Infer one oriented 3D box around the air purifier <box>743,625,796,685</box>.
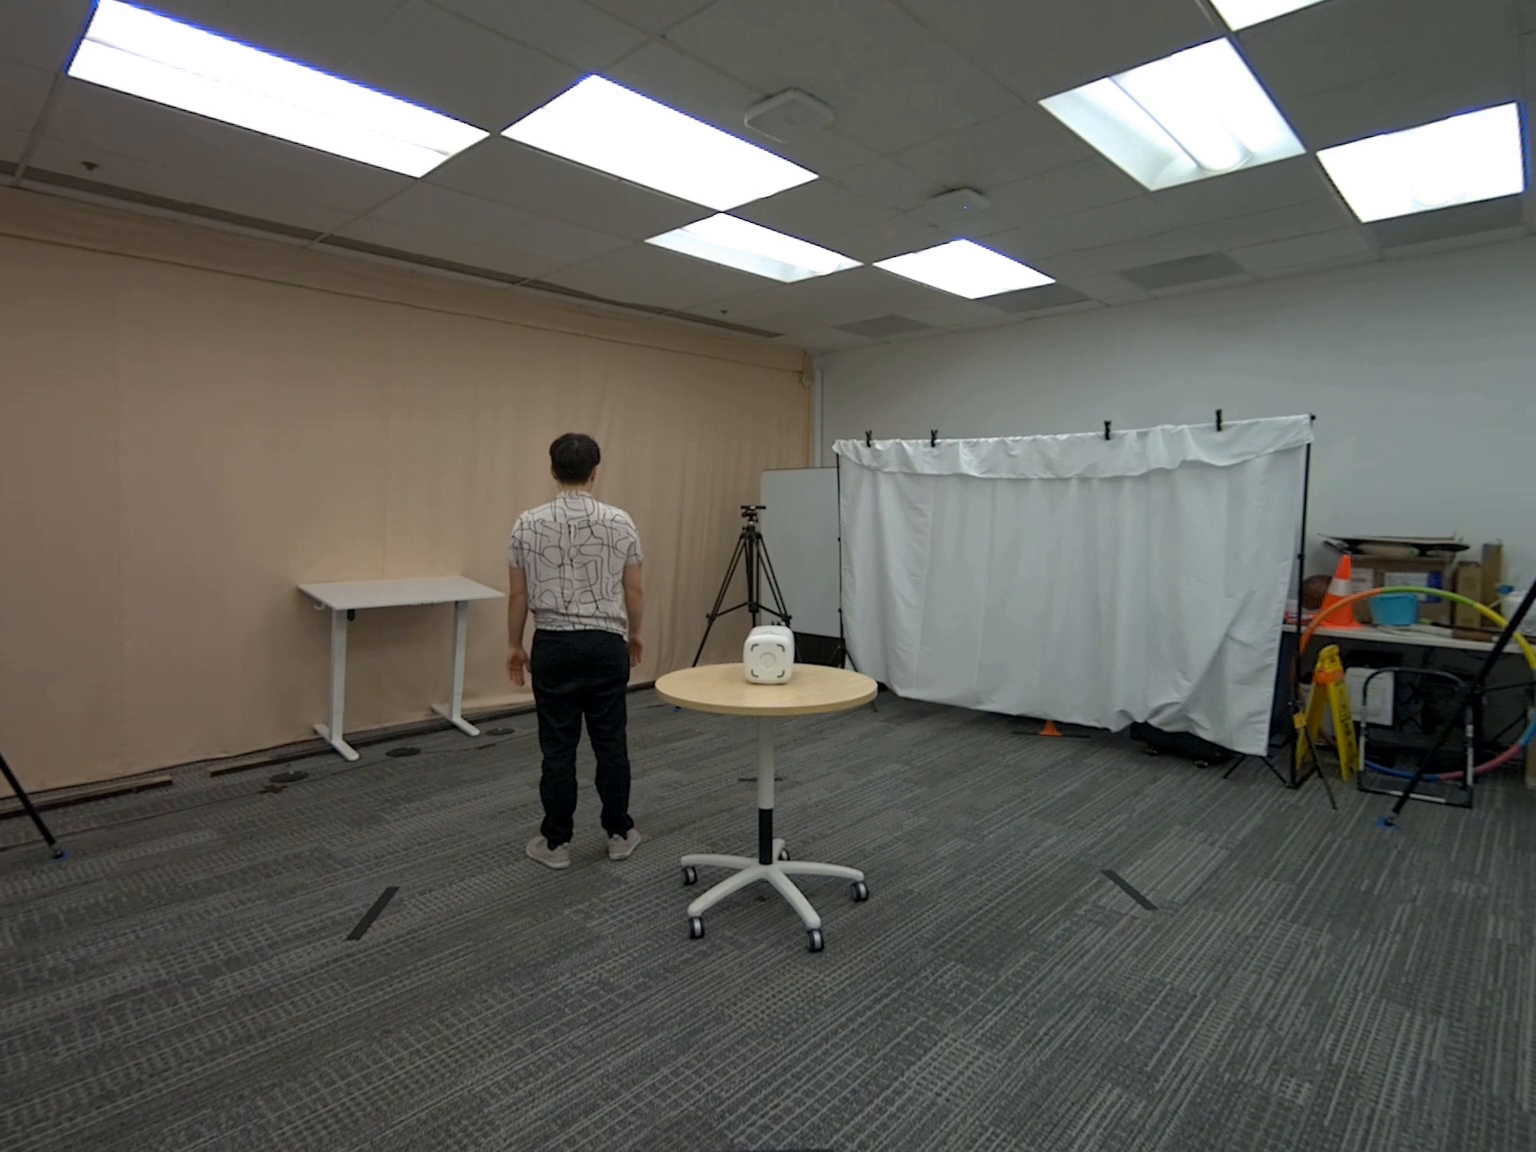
[{"bbox_3d":[0.008,0.276,2.986,0.172,0.171,0.265,0,4,3],"label":"air purifier"}]
